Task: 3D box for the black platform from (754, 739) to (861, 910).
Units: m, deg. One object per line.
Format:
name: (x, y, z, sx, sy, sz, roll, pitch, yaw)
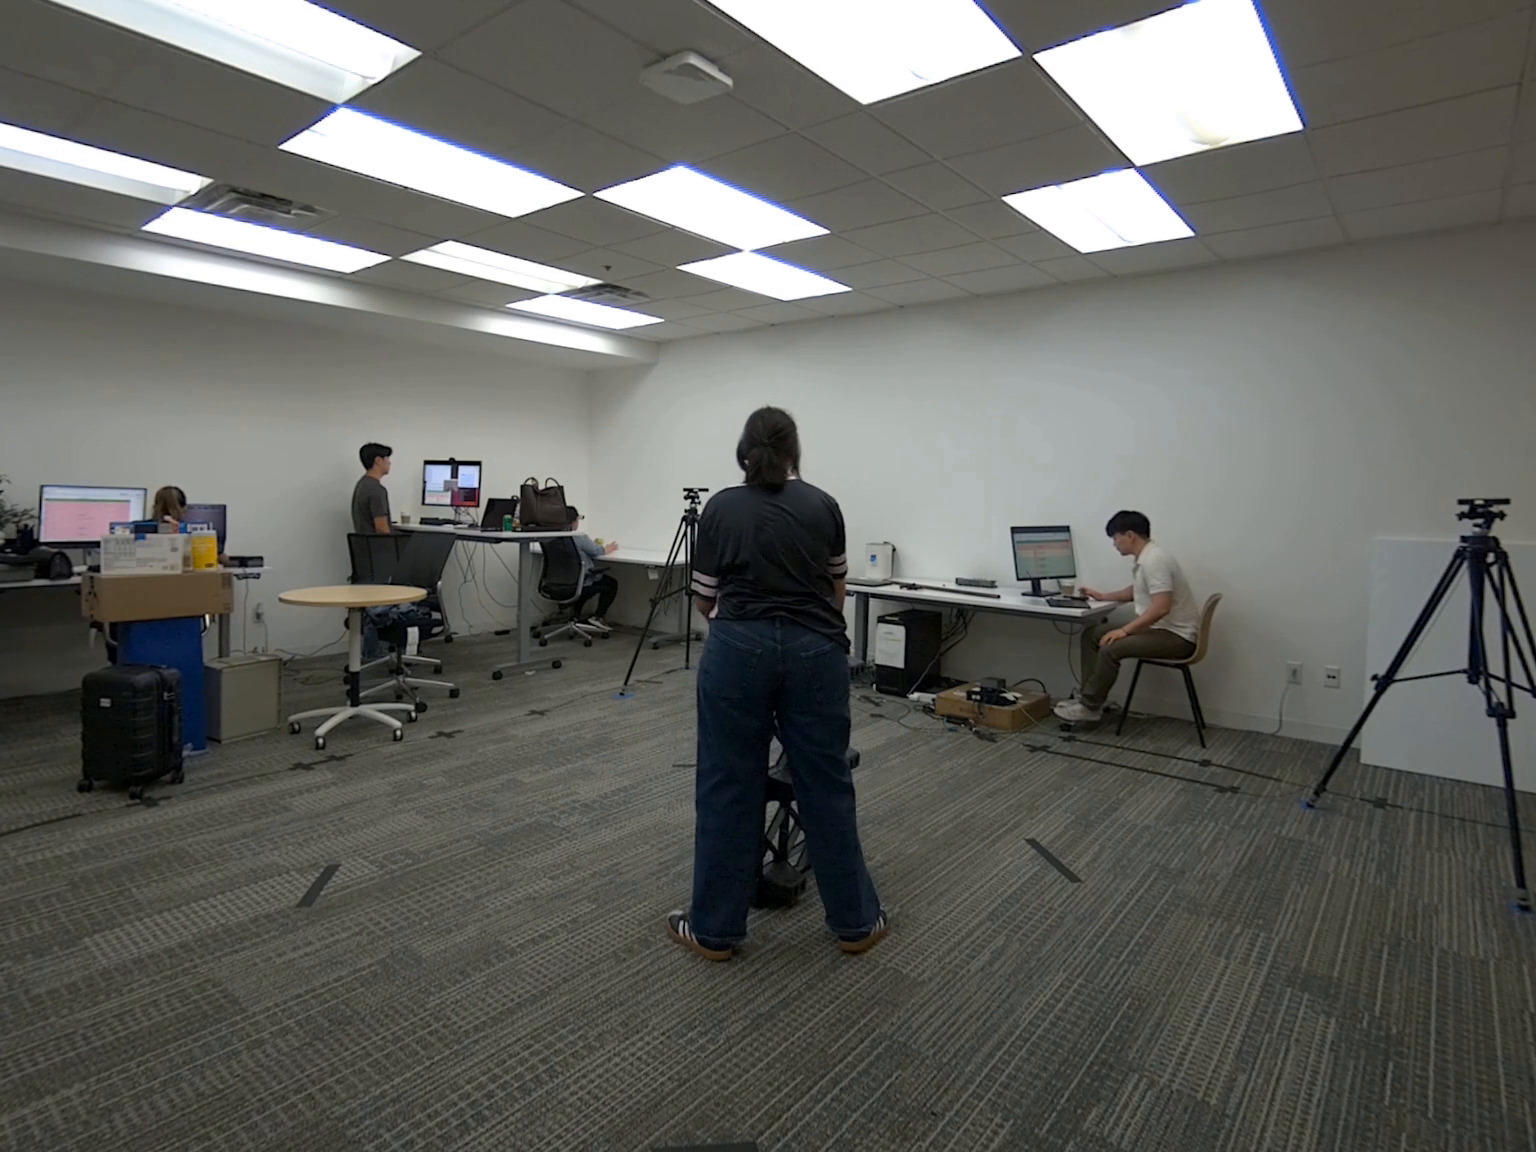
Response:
black platform: (0.159, 0.692, 3.019, 0.148, 0.802, 0.589, 6, 6, 32)
